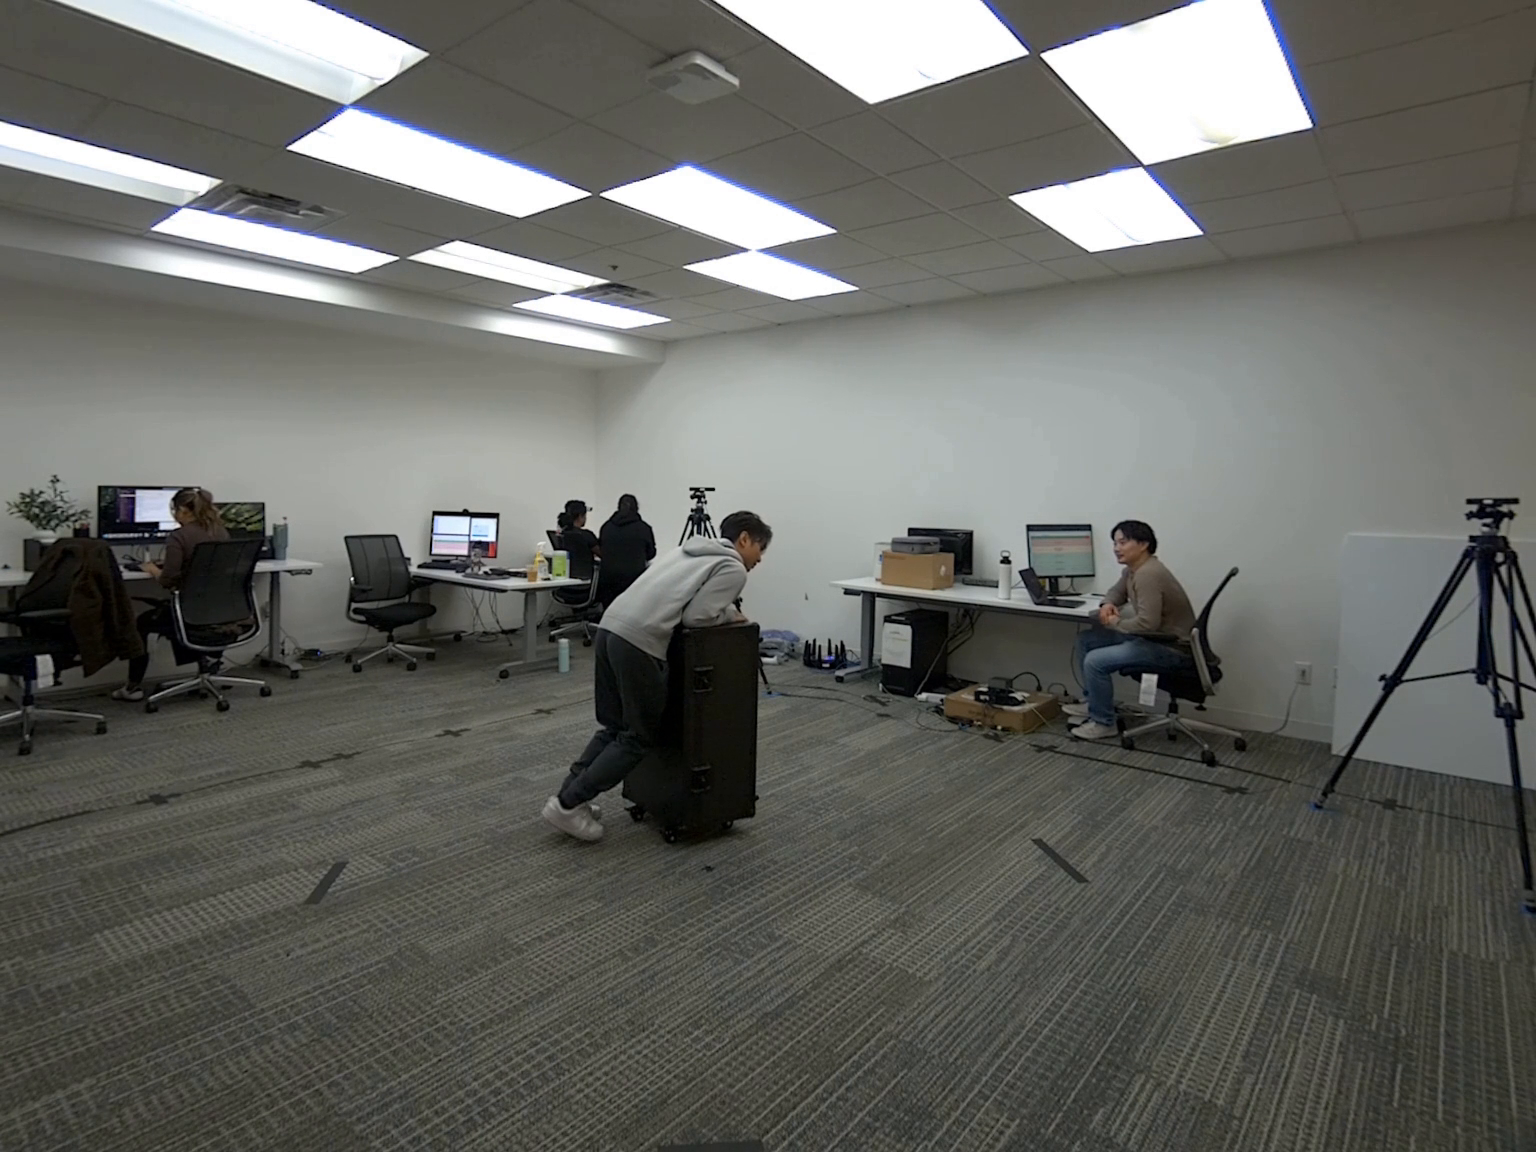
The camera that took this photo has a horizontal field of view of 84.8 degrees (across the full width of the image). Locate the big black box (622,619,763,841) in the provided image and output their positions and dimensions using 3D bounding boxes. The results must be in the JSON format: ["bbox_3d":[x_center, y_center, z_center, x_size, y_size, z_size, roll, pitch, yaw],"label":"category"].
[{"bbox_3d":[-0.331,0.603,3.532,0.384,0.860,0.538,1,2,-37],"label":"big black box"}]
